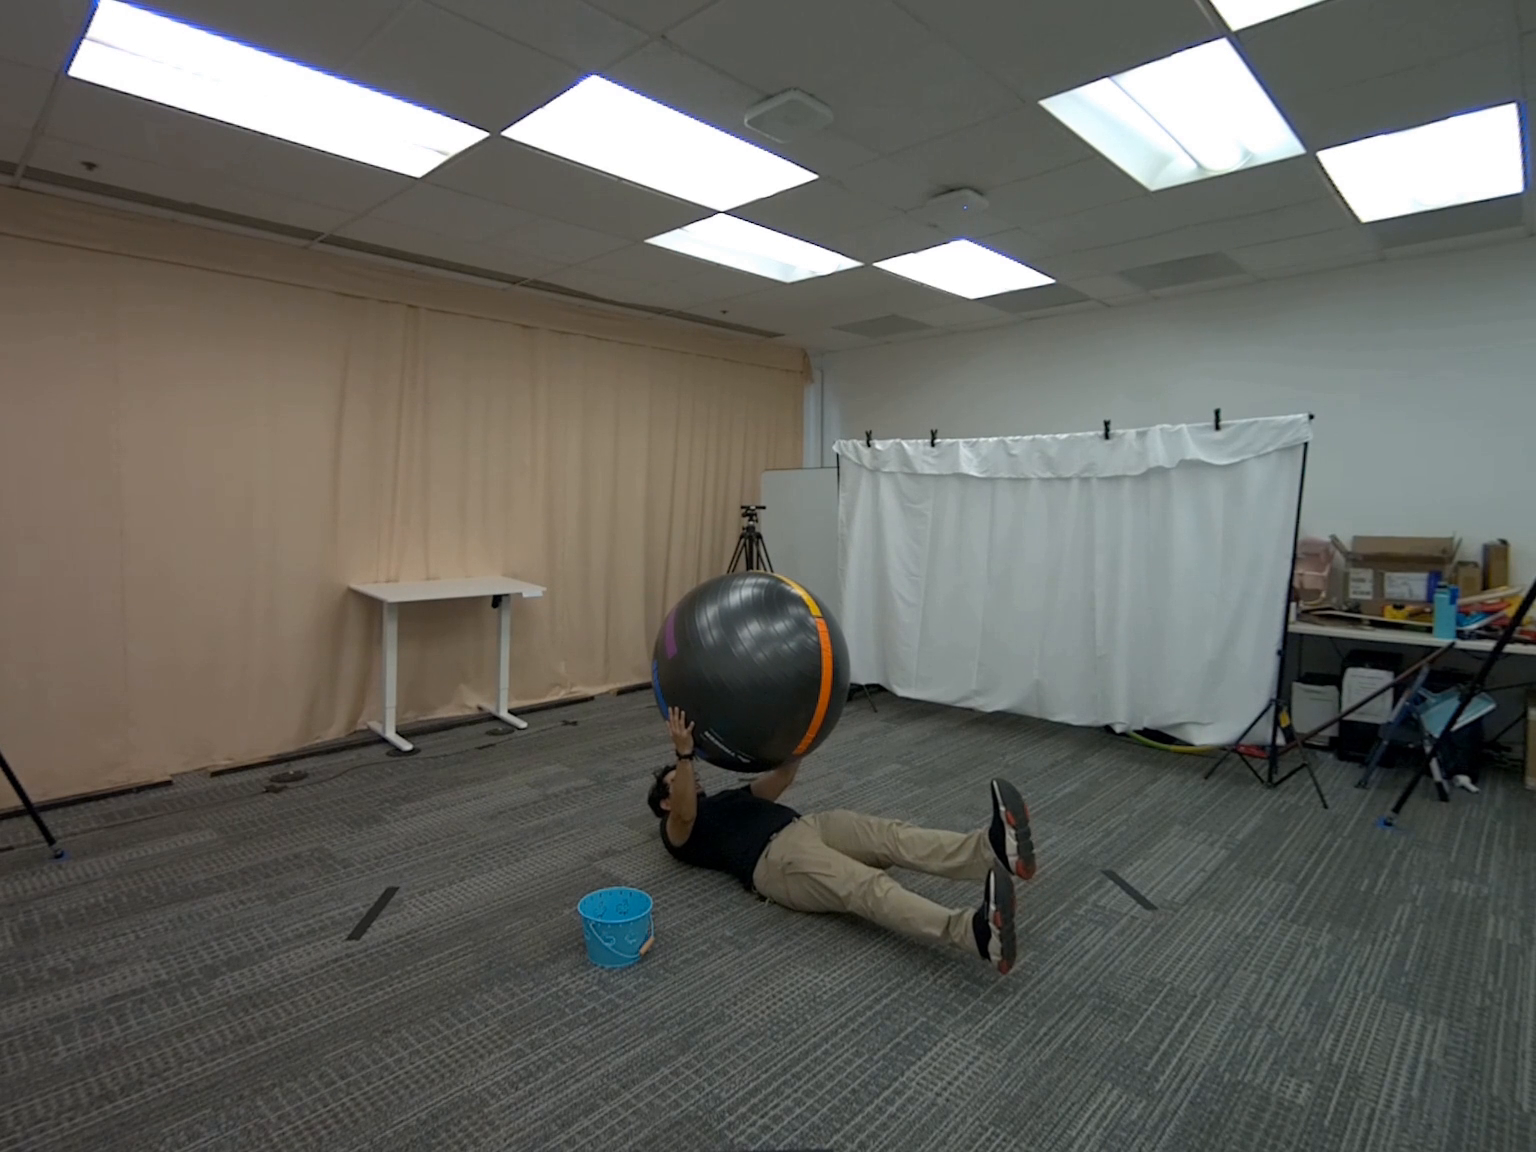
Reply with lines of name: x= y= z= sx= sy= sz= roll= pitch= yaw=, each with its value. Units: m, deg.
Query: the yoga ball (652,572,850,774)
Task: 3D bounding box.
yoga ball: x=-0.063 y=0.366 z=3.220 sx=0.757 sy=0.756 sz=0.761 roll=0 pitch=4 yaw=-2
